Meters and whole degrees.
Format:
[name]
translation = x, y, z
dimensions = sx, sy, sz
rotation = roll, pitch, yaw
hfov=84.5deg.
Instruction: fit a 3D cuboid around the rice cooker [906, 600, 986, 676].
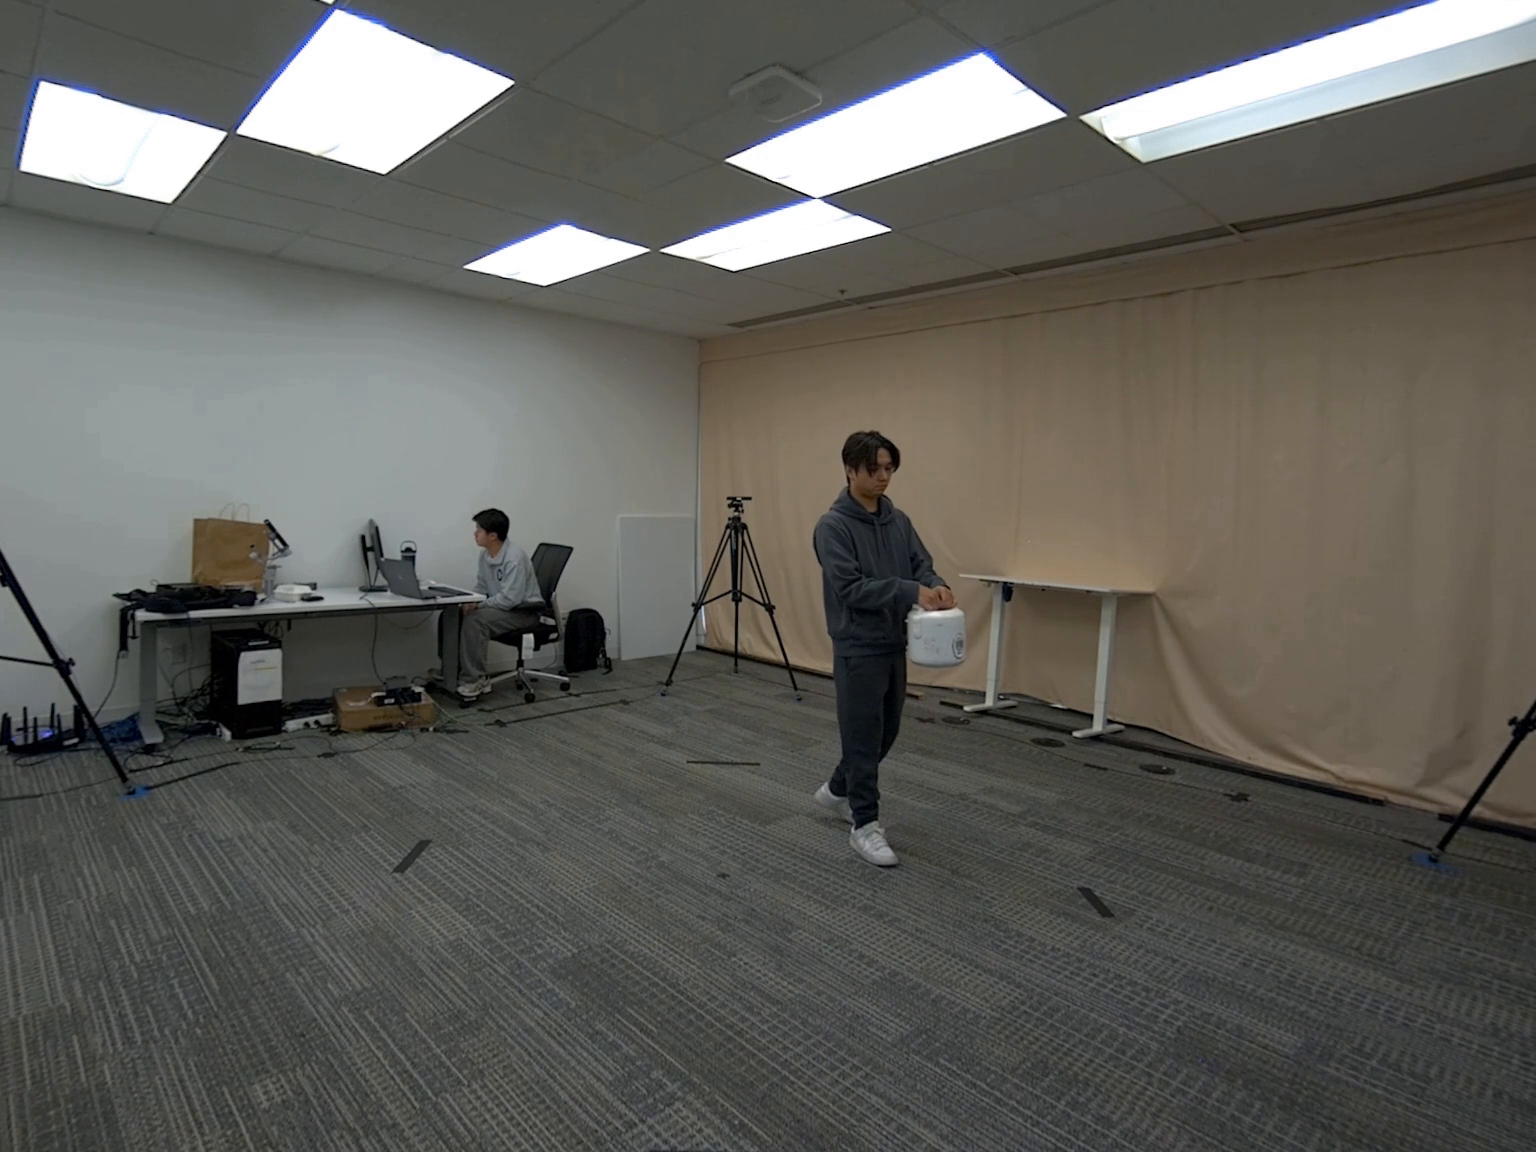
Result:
[rice cooker]
translation = 0.626, 0.215, 3.096
dimensions = 0.216, 0.232, 0.222
rotation = -5, 3, -33
